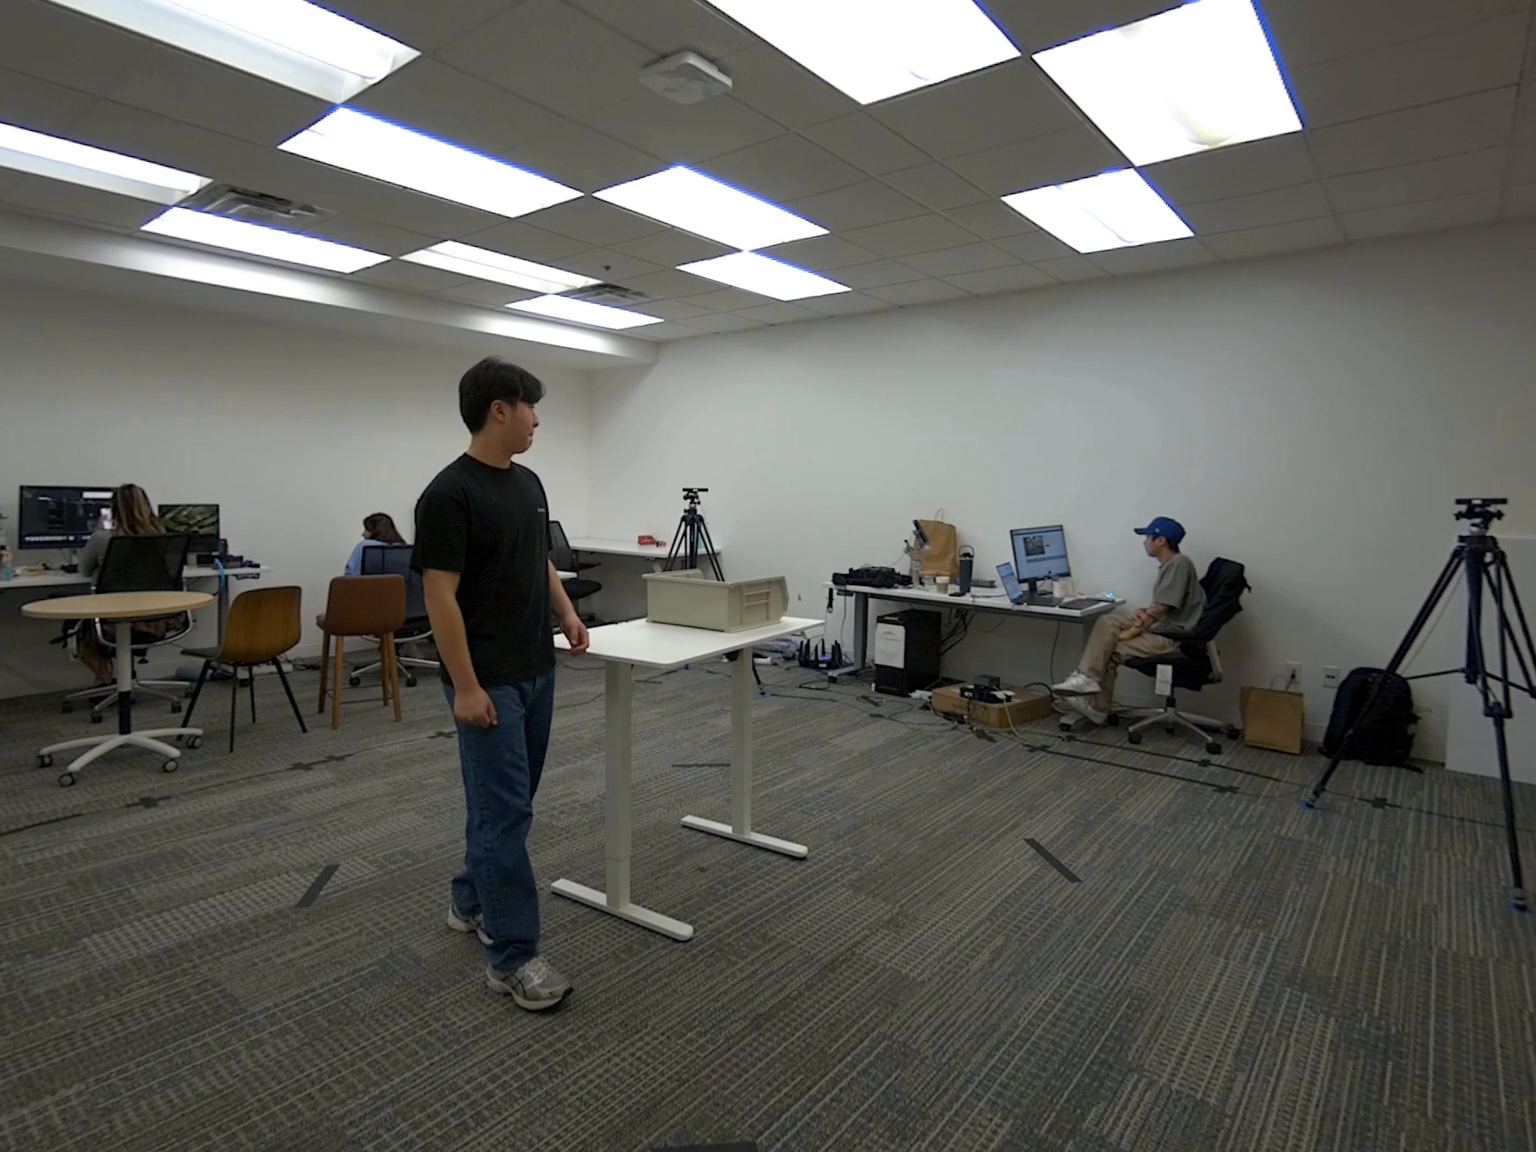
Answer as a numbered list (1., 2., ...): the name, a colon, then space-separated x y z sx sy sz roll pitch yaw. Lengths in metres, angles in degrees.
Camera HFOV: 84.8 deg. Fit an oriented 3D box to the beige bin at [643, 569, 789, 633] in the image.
1. beige bin: -0.205 0.086 3.236 0.436 0.188 0.367 5 8 37
